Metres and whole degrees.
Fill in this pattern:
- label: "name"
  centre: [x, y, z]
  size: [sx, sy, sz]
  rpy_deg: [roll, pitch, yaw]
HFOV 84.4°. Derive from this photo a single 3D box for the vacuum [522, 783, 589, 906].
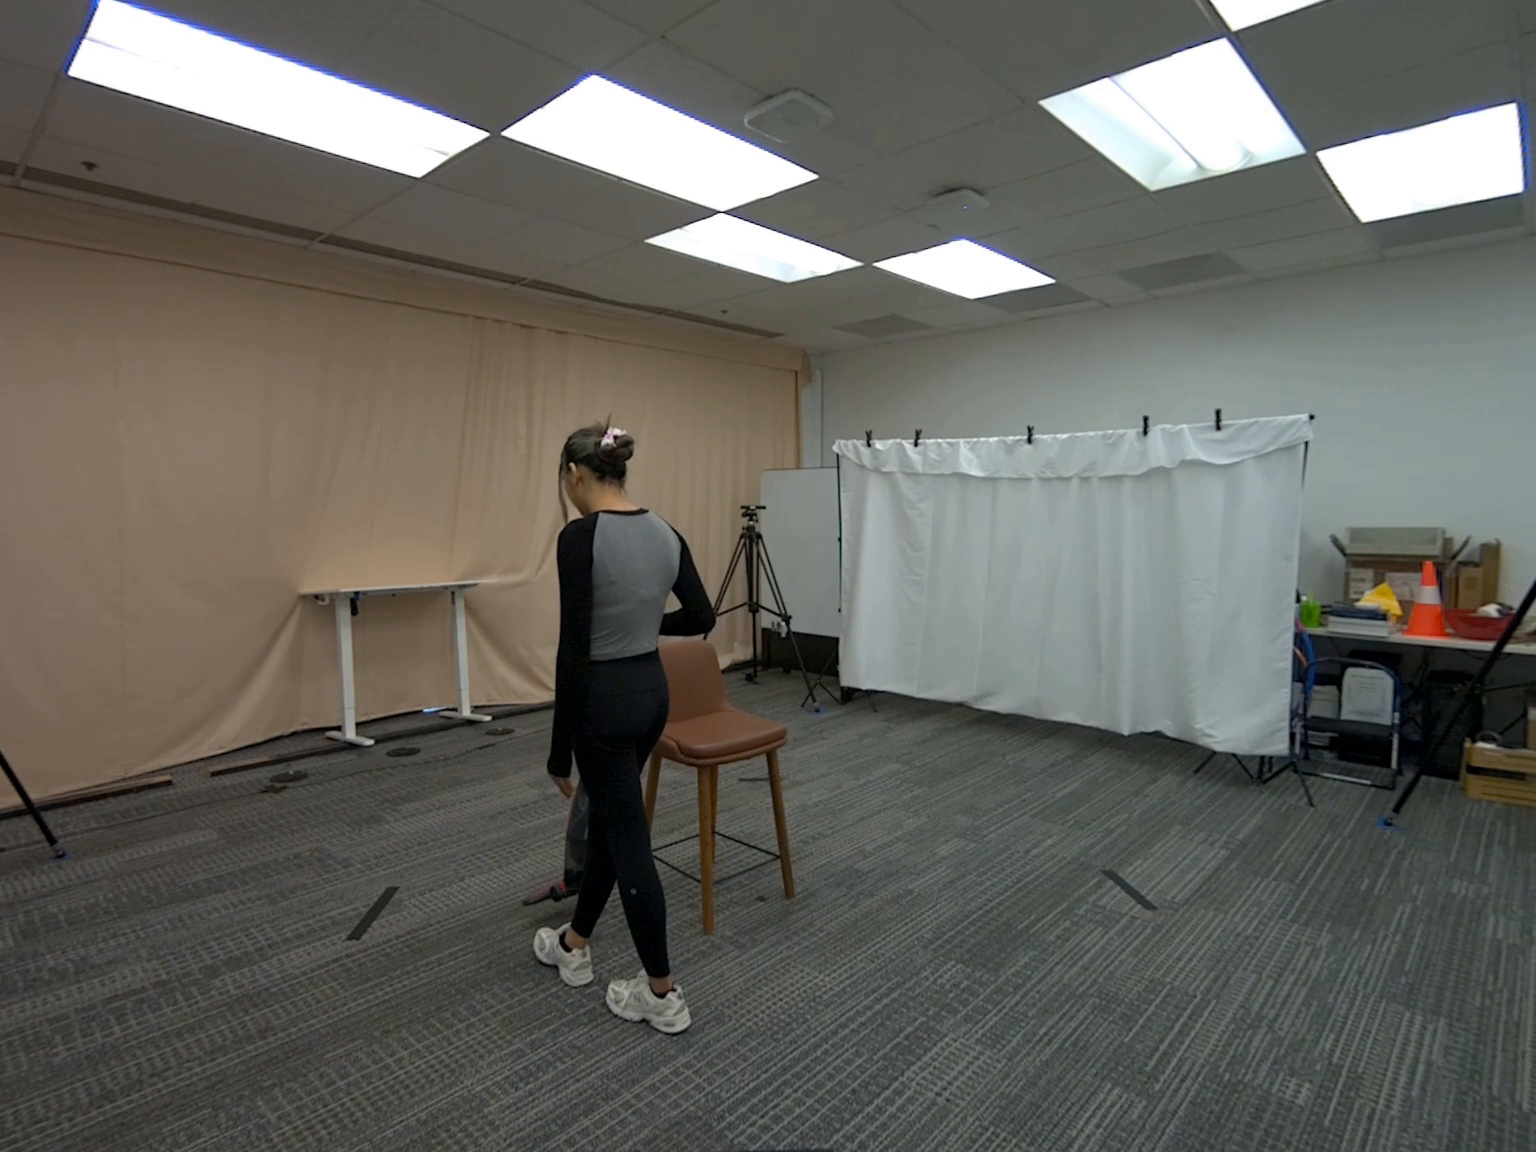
- label: "vacuum"
  centre: [-0.553, 0.618, 2.673]
  size: [0.149, 1.044, 0.245]
  rpy_deg: [31, 21, 34]
